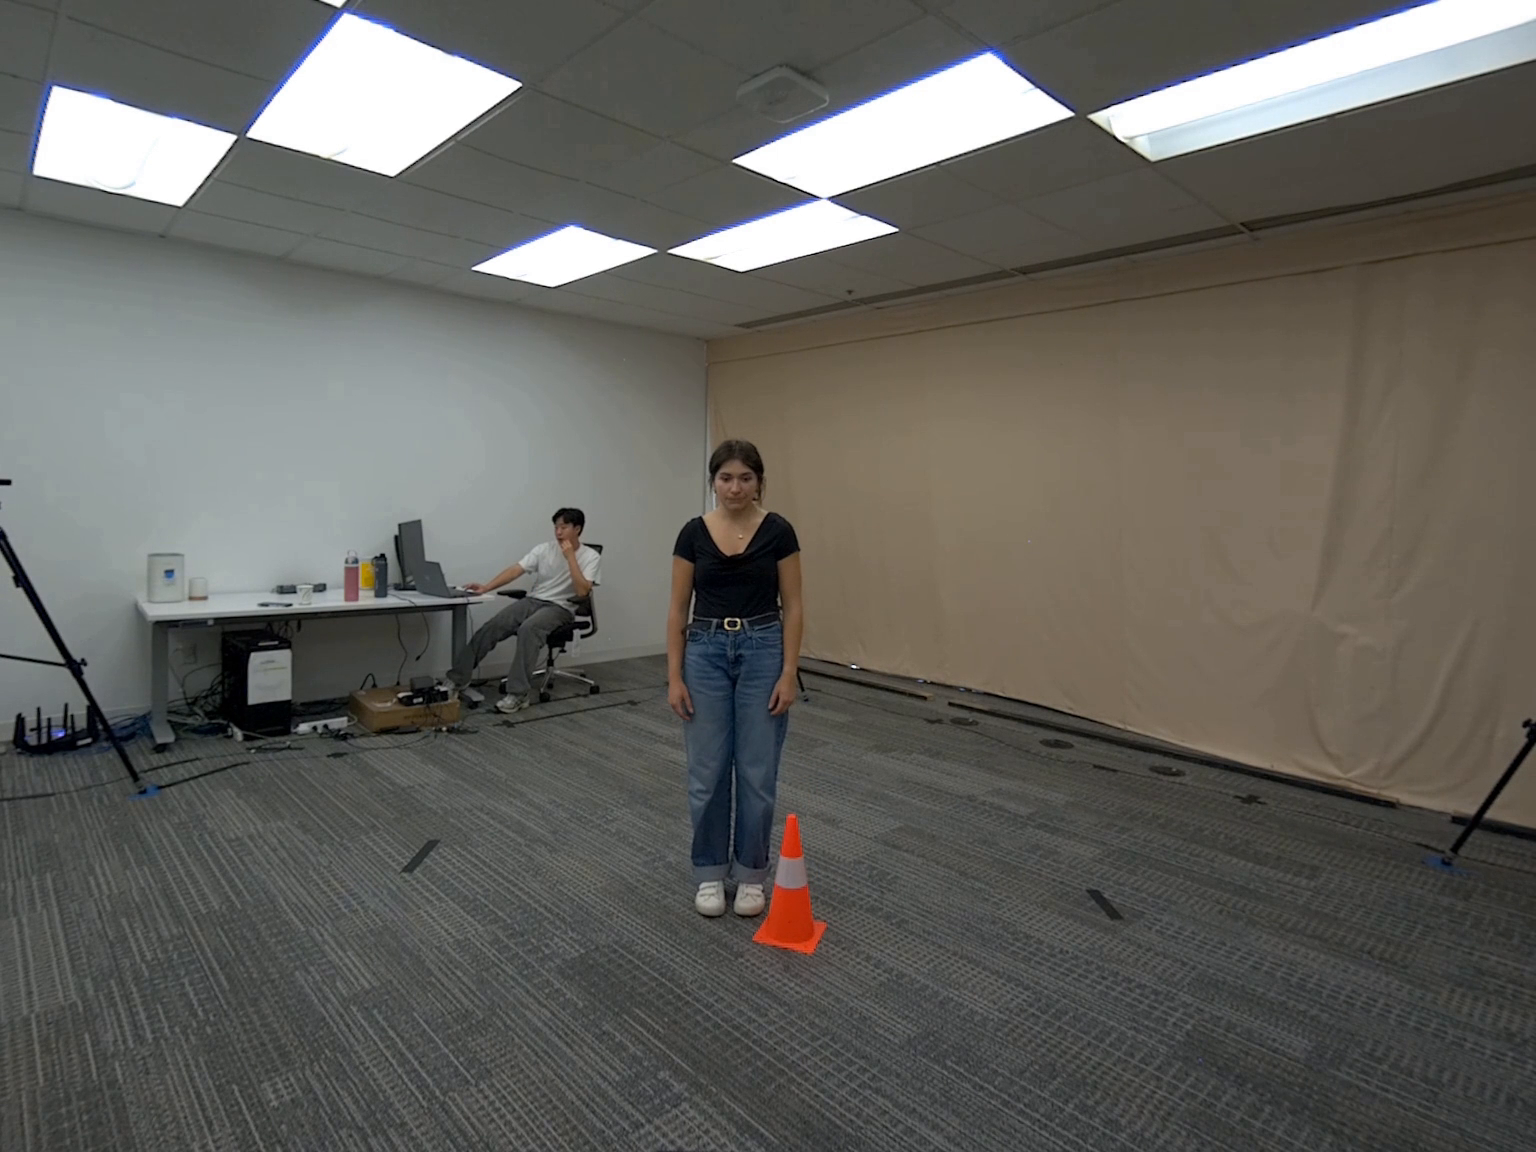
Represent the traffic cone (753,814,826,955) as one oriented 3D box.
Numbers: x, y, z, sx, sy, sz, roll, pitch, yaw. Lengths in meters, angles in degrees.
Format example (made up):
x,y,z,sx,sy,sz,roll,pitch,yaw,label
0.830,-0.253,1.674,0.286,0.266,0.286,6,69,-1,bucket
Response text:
x,y,z,sx,sy,sz,roll,pitch,yaw,label
0.064,0.964,2.693,0.208,0.383,0.200,3,3,19,traffic cone
